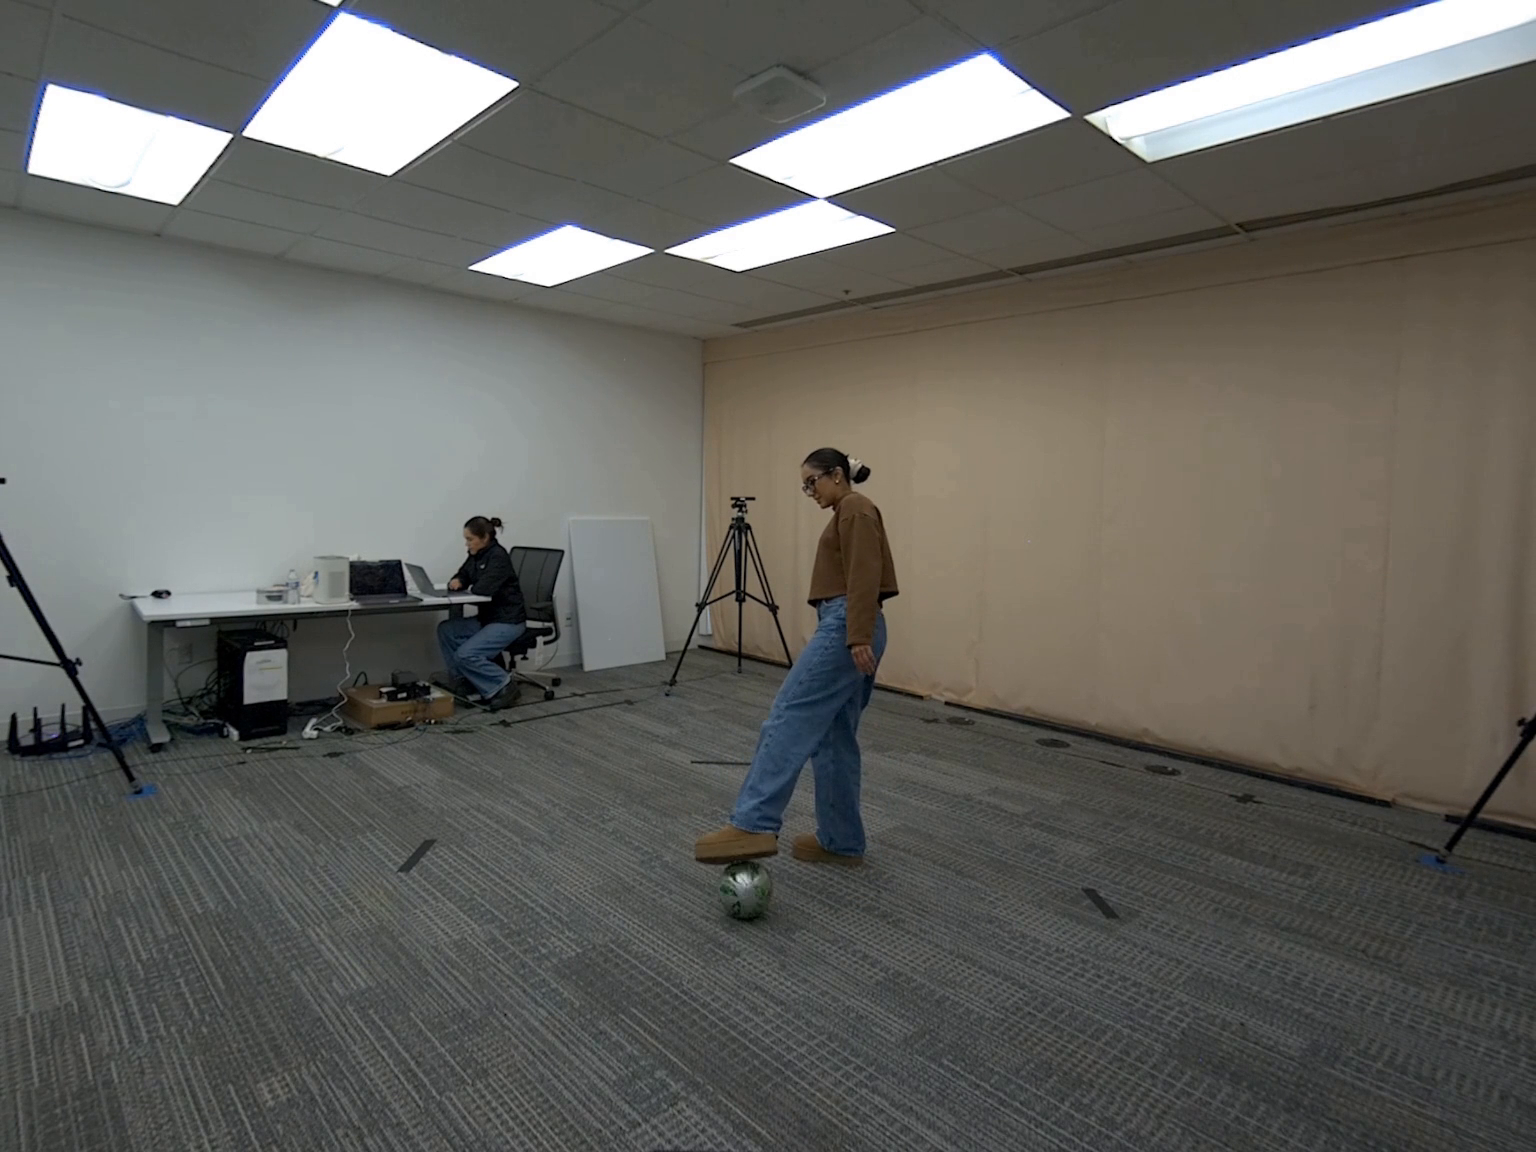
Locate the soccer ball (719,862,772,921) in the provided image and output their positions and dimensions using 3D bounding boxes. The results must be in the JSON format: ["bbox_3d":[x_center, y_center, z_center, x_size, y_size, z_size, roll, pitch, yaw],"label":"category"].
[{"bbox_3d":[-0.076,1.042,2.810,0.187,0.187,0.188,1,4,-1],"label":"soccer ball"}]
